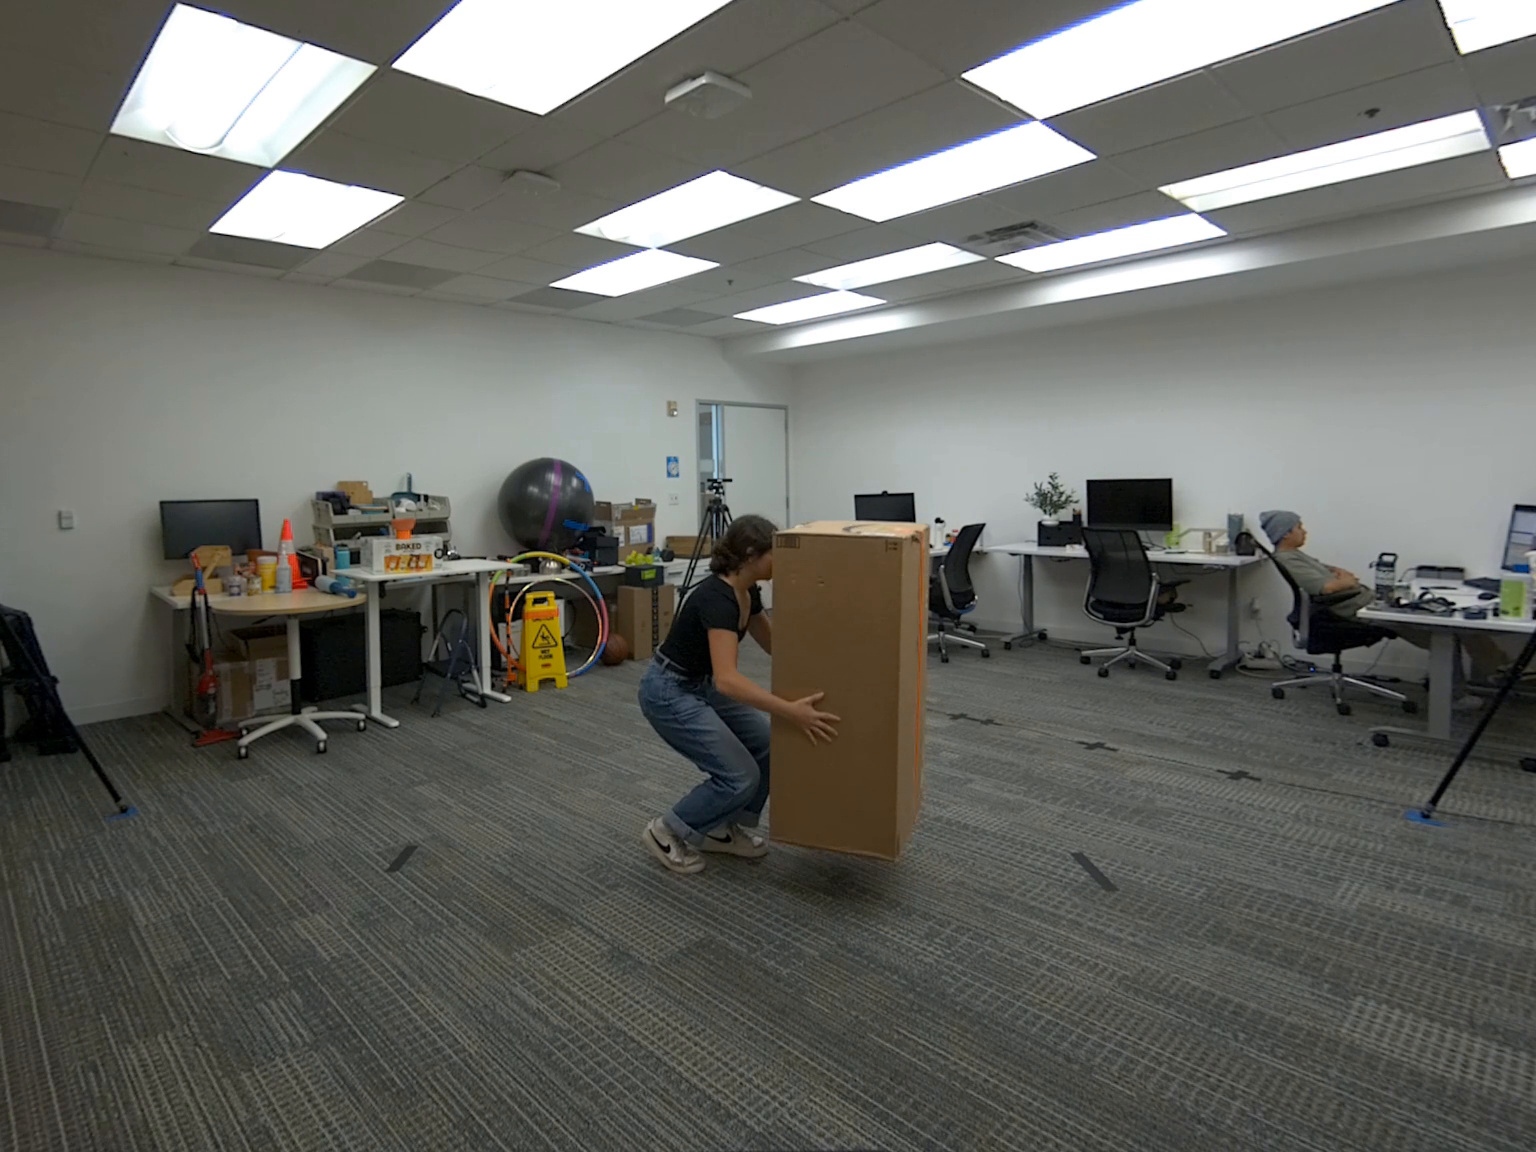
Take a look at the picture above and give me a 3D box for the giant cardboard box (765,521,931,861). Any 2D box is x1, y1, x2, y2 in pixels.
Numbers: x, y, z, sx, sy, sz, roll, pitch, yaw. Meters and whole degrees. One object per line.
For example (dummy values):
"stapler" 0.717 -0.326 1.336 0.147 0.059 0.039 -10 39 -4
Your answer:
"giant cardboard box" 0.300 0.341 2.955 0.434 1.021 0.569 2 6 19
